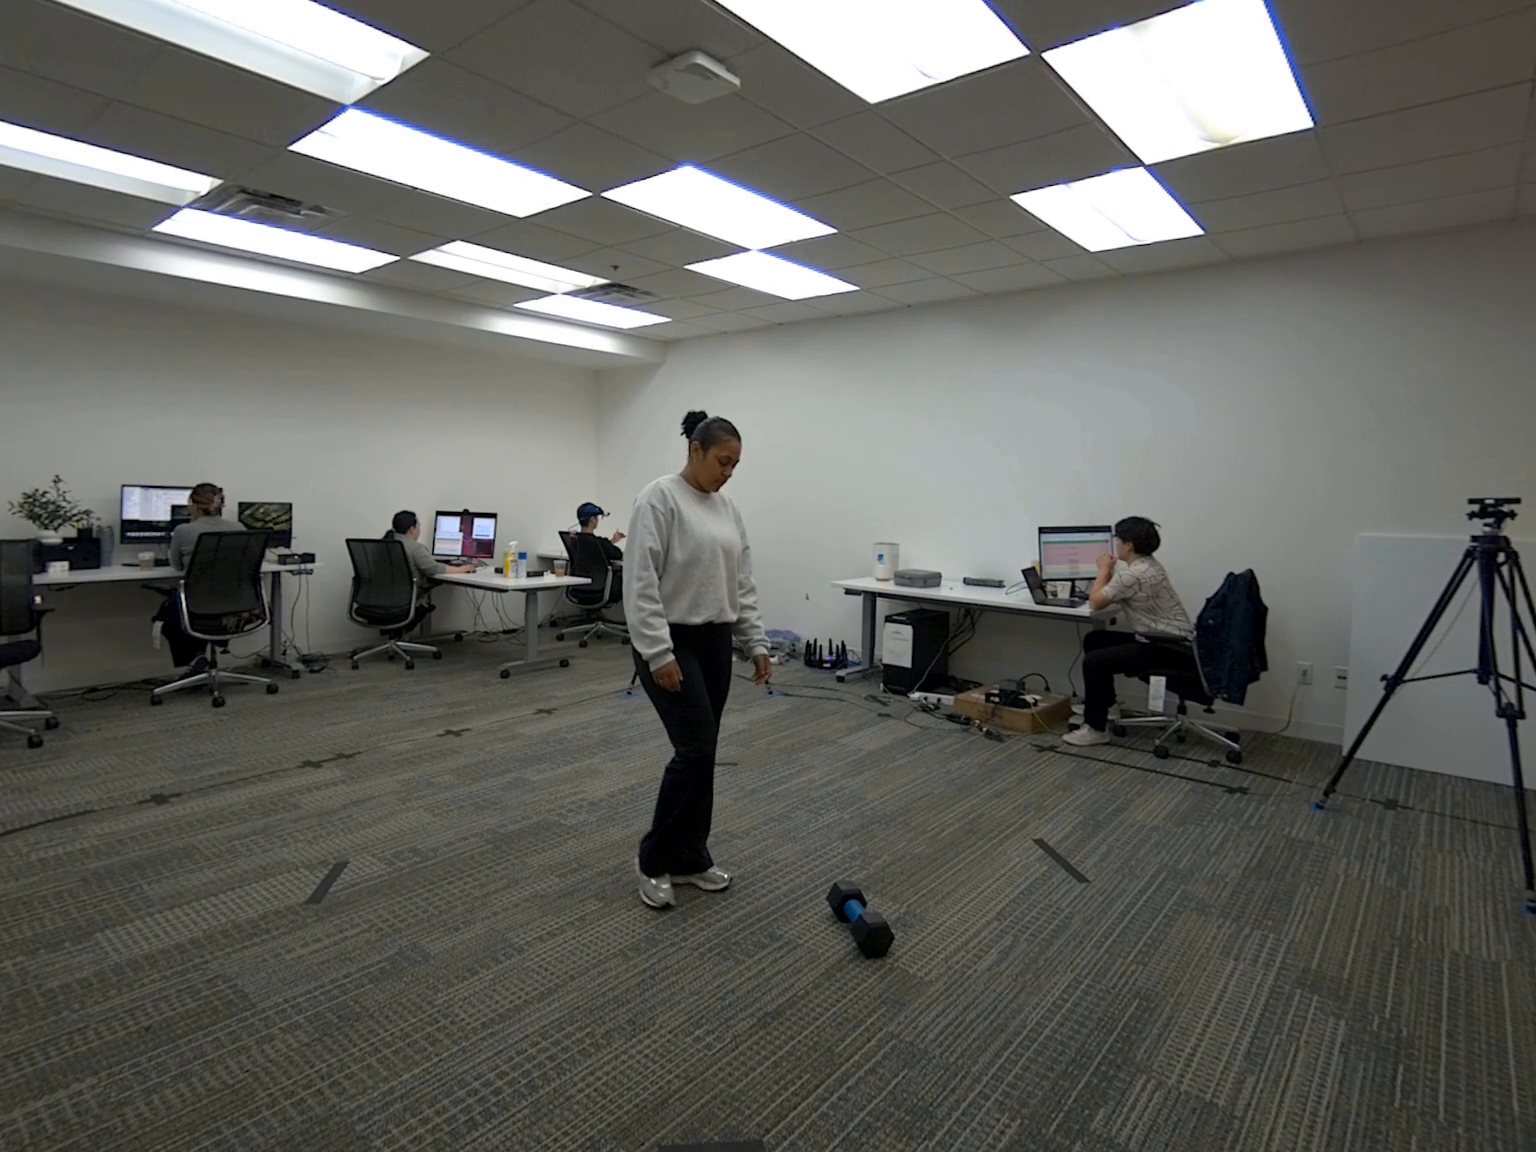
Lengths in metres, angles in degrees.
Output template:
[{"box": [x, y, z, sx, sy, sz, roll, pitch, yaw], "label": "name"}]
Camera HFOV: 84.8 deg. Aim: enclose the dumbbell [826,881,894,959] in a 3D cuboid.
[{"box": [0.278, 1.069, 2.668, 0.106, 0.123, 0.299, 31, -3, -16], "label": "dumbbell"}]
